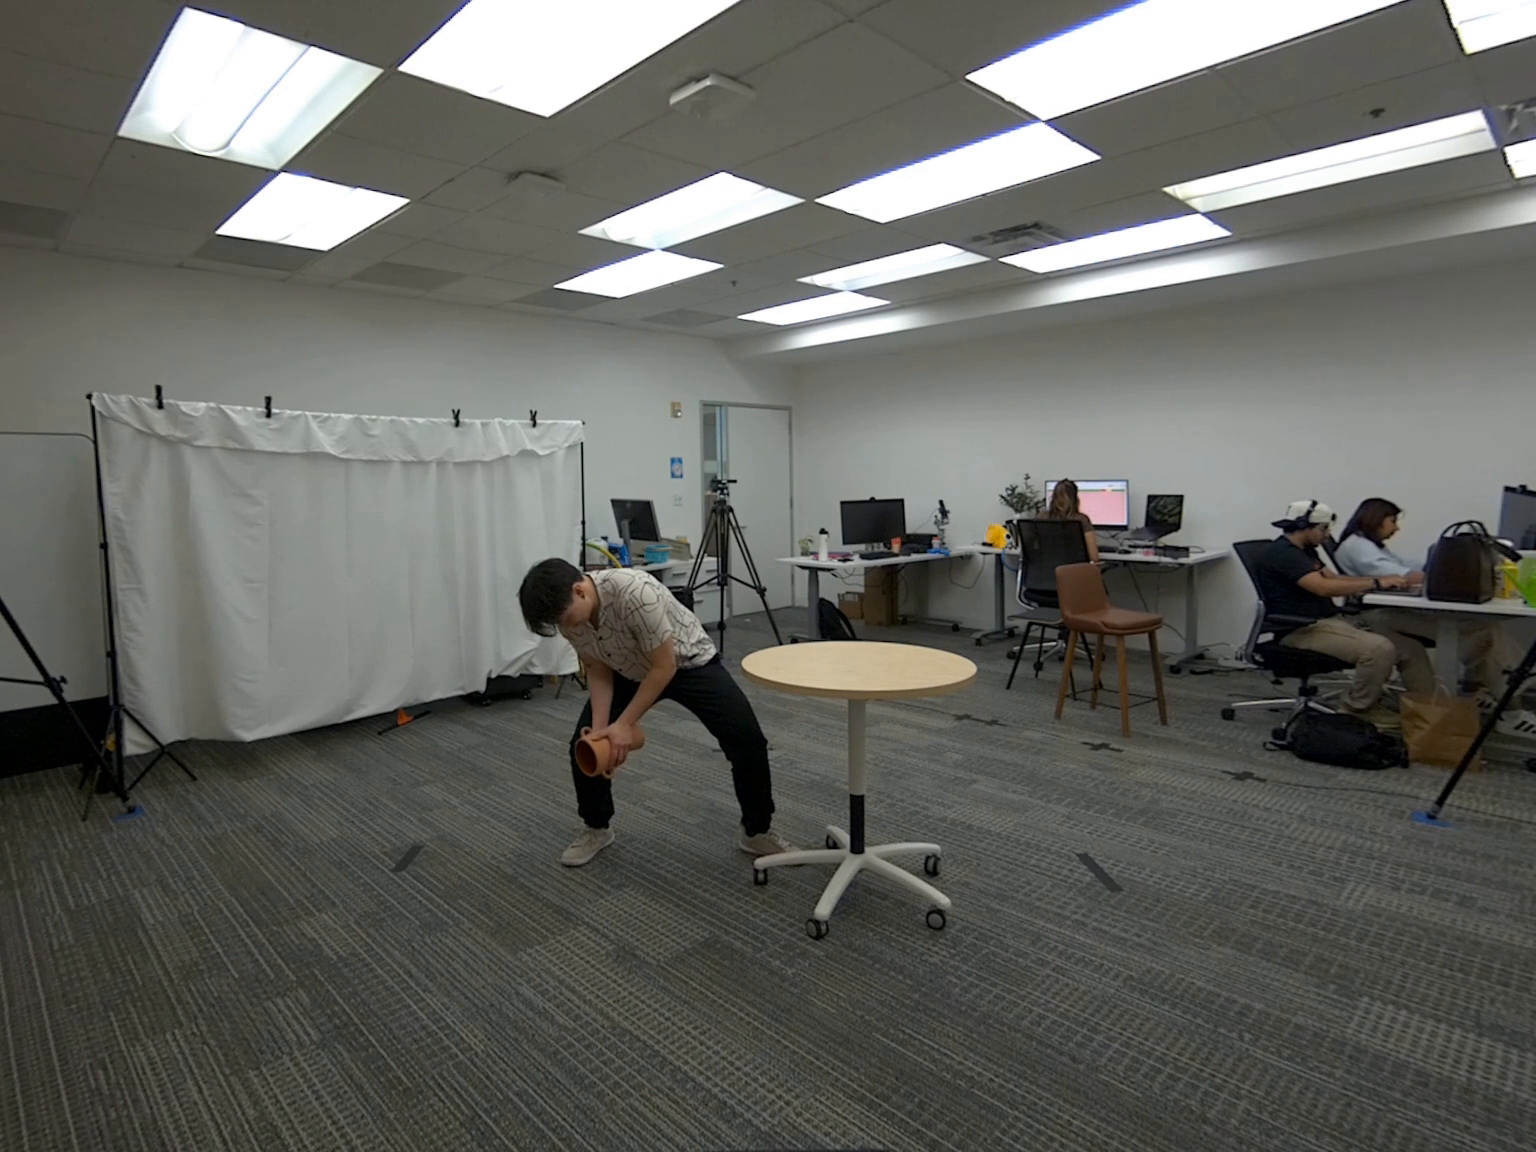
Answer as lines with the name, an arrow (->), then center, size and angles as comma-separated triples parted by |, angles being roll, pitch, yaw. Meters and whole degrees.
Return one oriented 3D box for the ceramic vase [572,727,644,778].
ceramic vase -> -0.552, 0.591, 2.959 | 0.138, 0.157, 0.215 | 0, 12, 43
